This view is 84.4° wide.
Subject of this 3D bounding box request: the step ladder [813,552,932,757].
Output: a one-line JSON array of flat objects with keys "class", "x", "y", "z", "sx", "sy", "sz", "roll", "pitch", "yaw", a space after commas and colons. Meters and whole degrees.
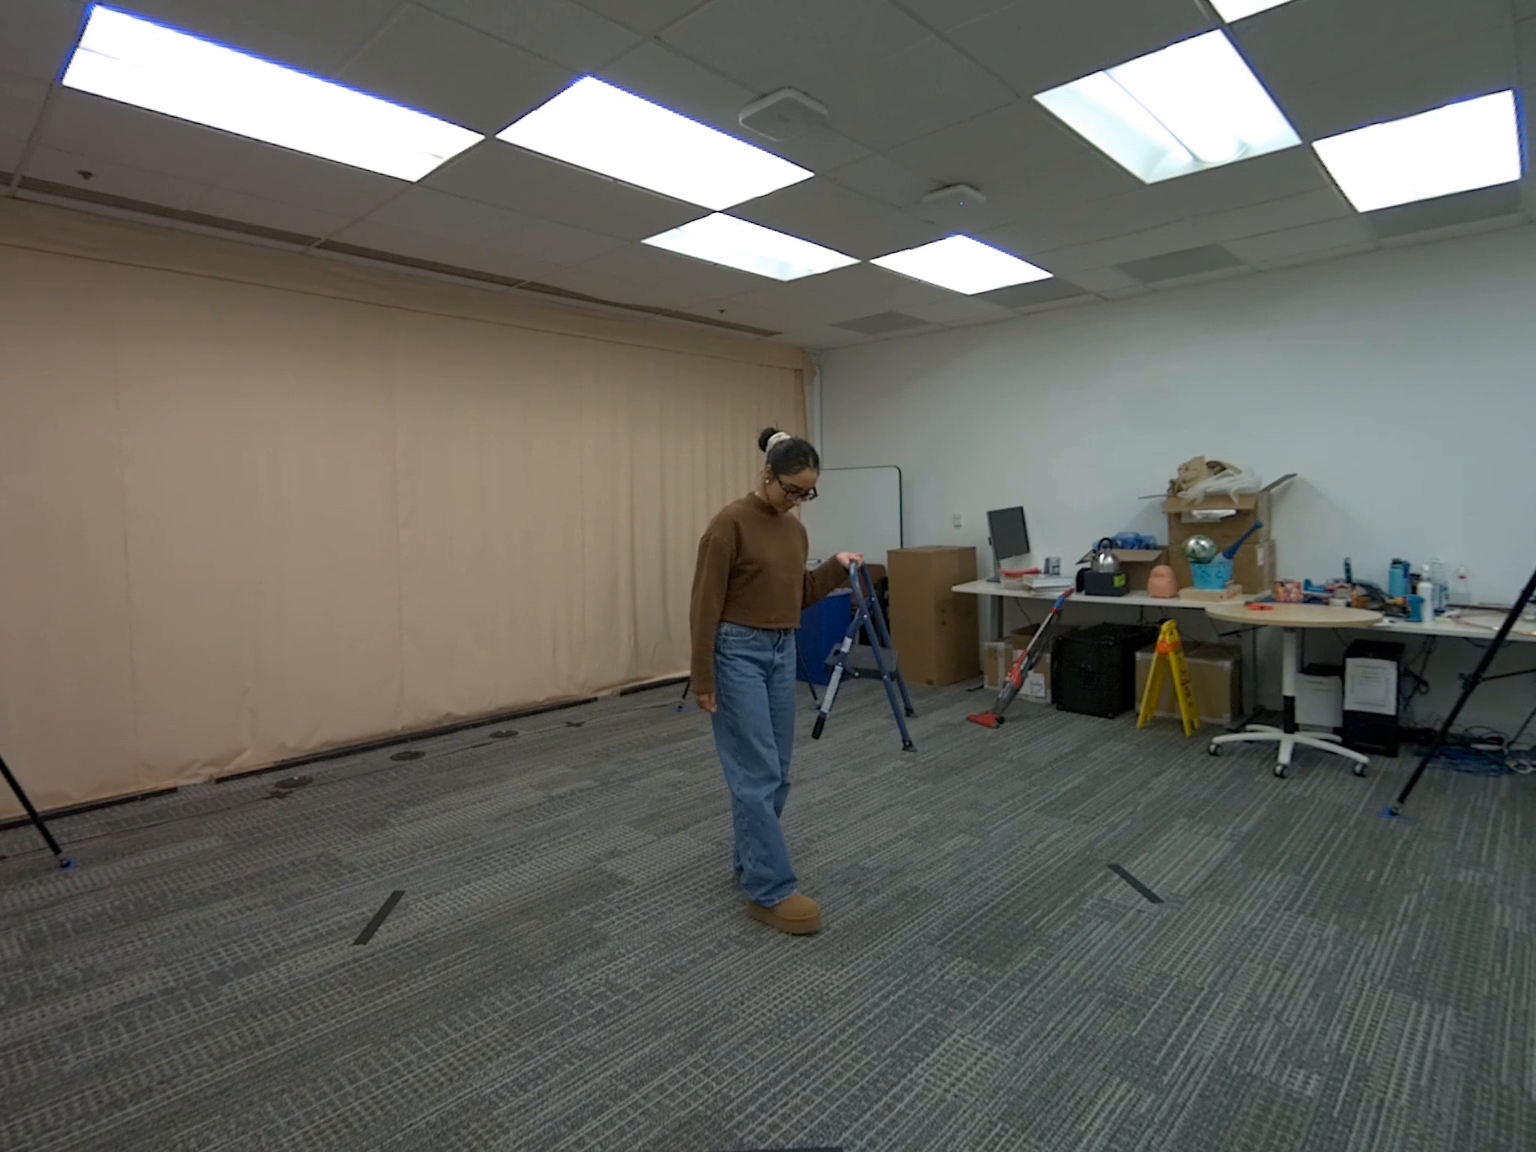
[{"class": "step ladder", "x": 0.376, "y": 0.251, "z": 3.000, "sx": 0.354, "sy": 0.603, "sz": 0.426, "roll": 4, "pitch": 7, "yaw": 11}]
